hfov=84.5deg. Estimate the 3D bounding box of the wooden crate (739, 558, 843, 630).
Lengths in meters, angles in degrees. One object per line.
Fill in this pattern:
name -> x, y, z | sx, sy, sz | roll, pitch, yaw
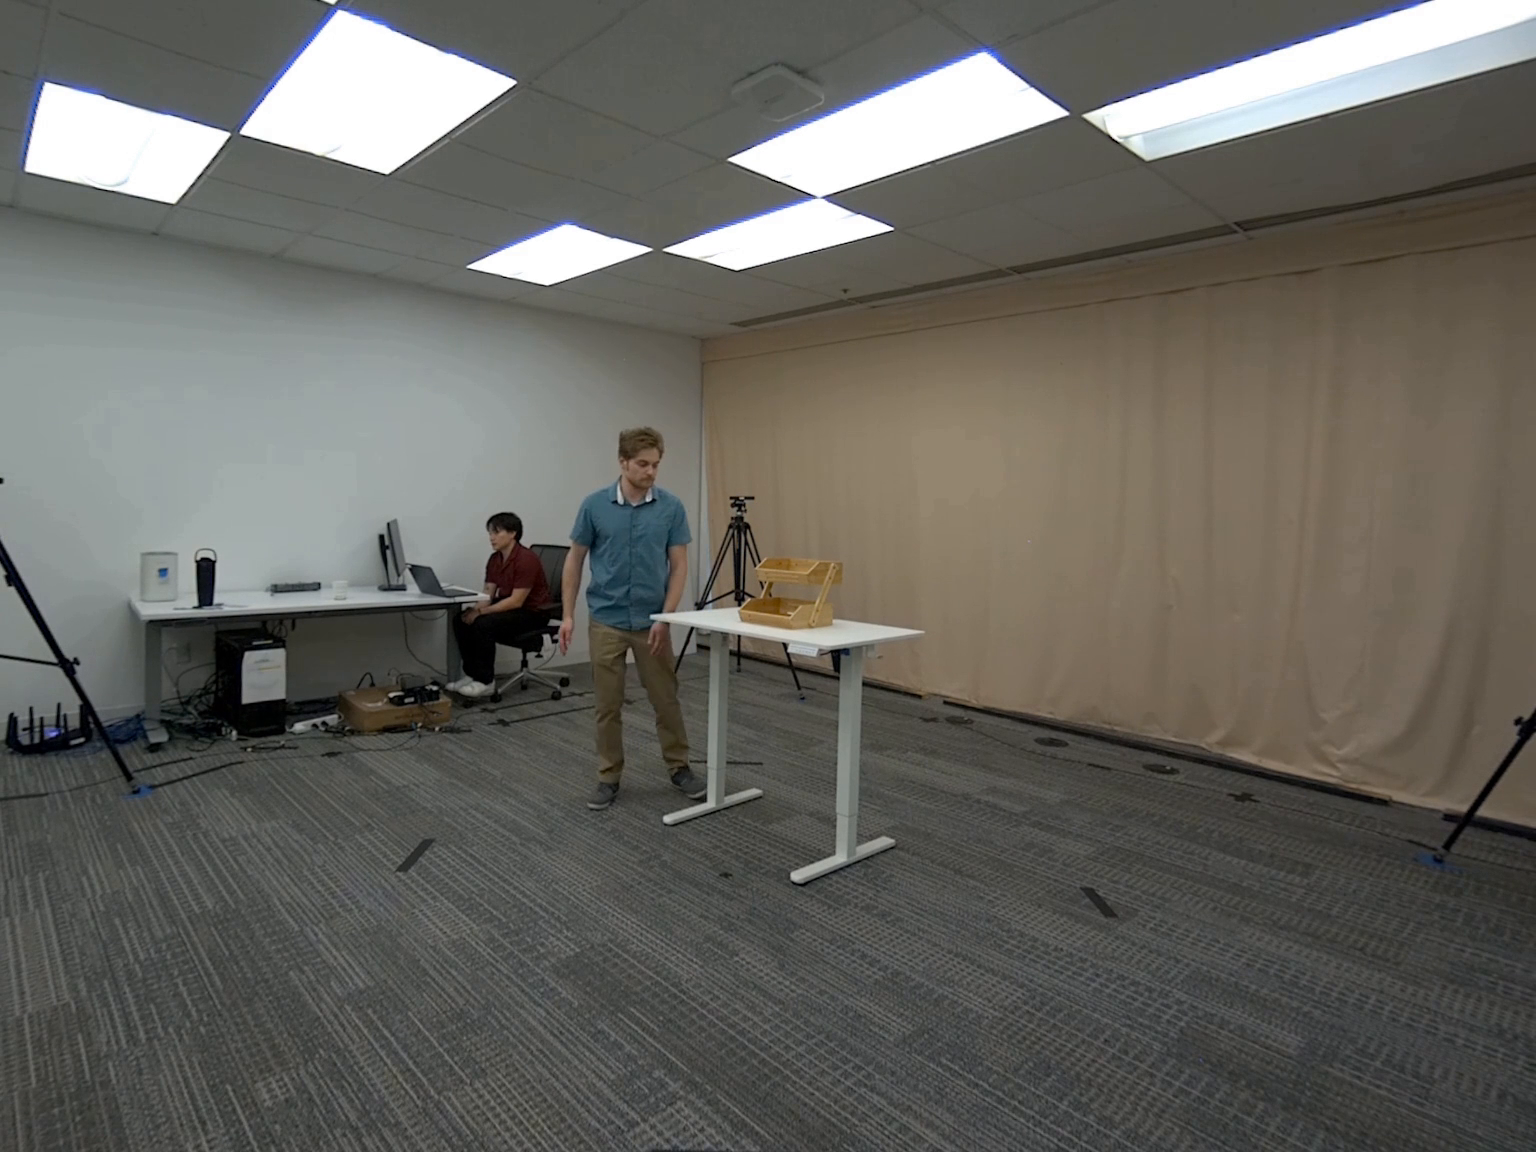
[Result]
wooden crate -> 0.082, 0.062, 3.465 | 0.295, 0.273, 0.333 | -1, 5, -44
